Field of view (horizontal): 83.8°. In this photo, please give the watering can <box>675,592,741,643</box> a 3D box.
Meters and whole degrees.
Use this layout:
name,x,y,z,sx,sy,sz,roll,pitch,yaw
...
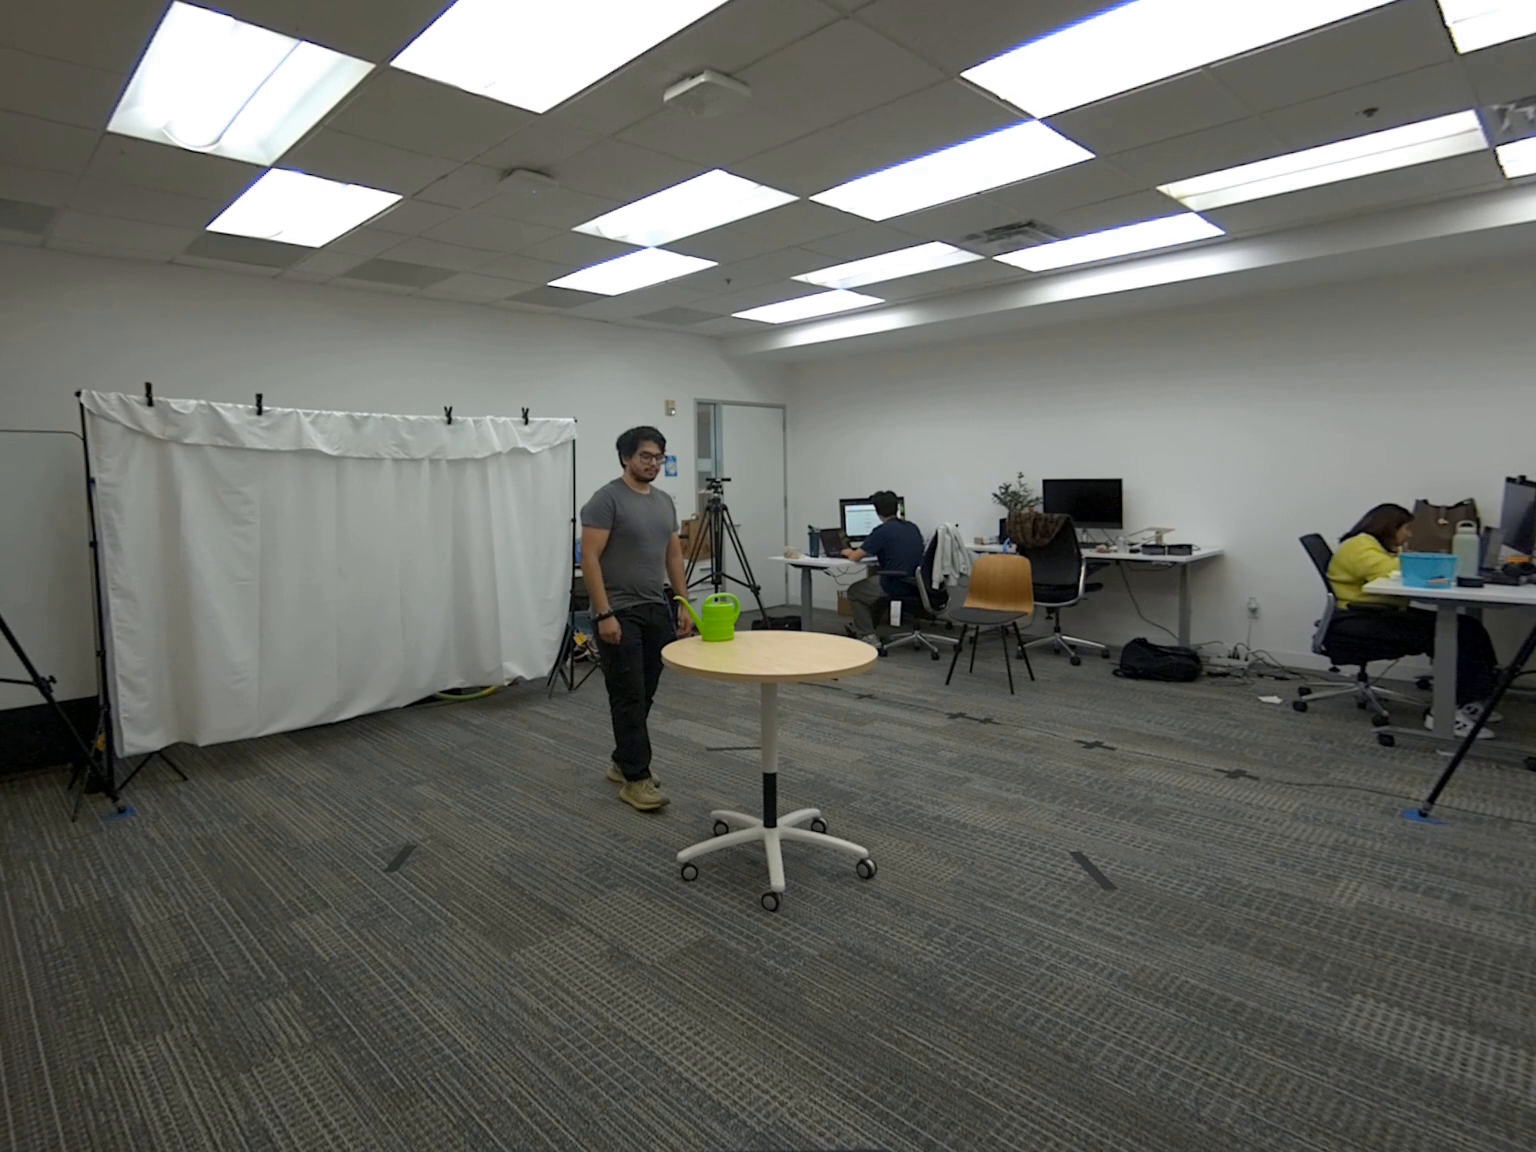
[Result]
name,x,y,z,sx,sy,sz,roll,pitch,yaw
watering can,-0.229,0.157,3.234,0.274,0.176,0.100,-1,4,-17
